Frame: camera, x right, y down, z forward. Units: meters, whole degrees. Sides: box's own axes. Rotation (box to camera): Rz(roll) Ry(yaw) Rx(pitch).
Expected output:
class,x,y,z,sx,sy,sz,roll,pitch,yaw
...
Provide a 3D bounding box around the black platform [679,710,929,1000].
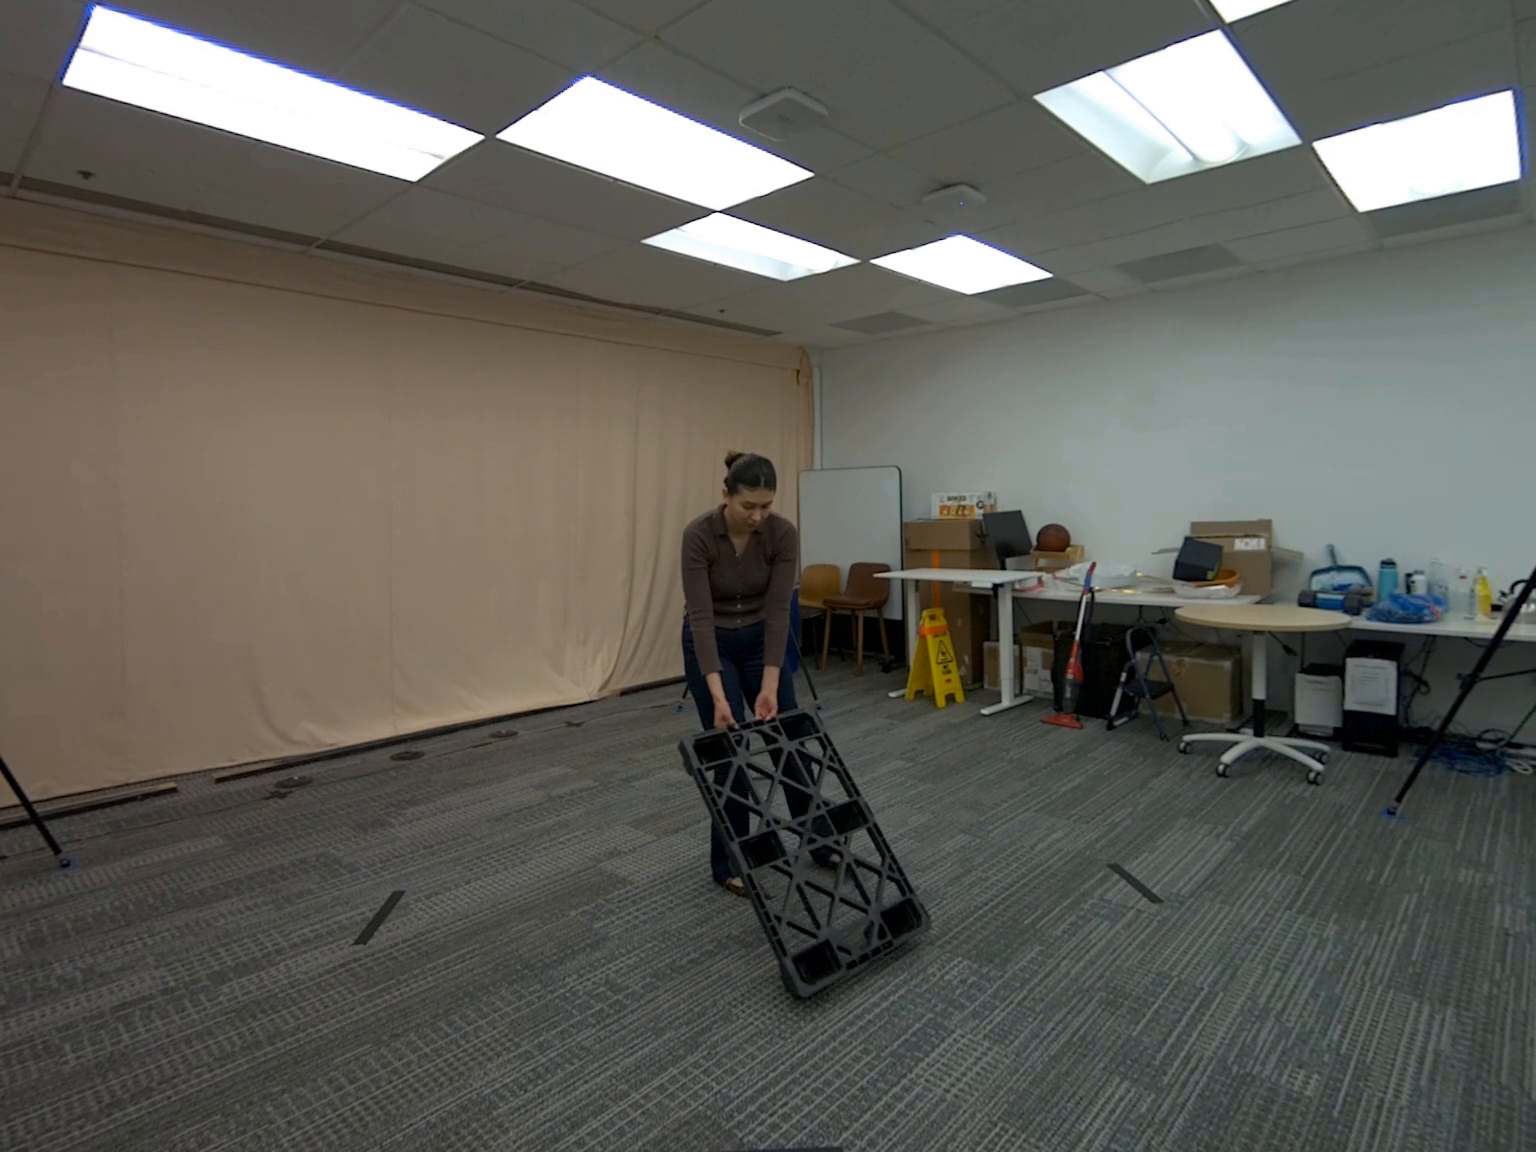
class,x,y,z,sx,sy,sz,roll,pitch,yaw
black platform,0.102,0.836,2.684,0.587,0.826,0.144,-4,-36,-42
